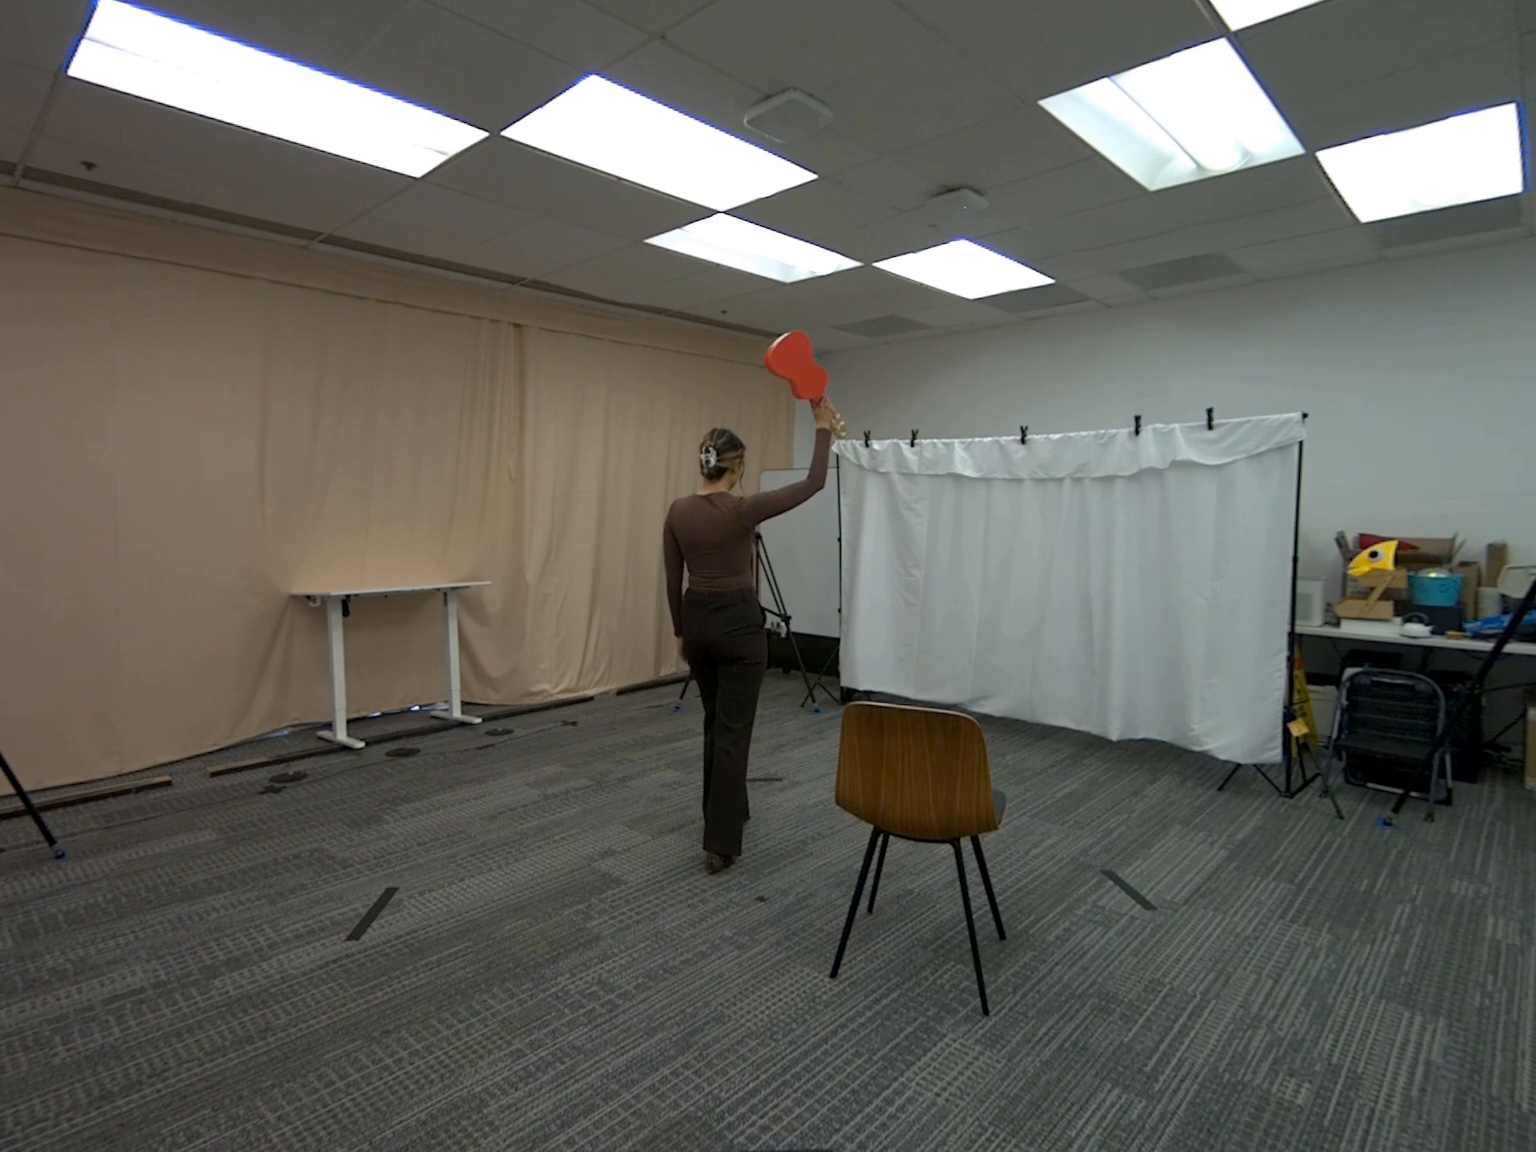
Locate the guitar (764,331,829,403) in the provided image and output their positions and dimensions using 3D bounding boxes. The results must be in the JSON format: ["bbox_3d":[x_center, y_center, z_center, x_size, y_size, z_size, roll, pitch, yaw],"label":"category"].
[{"bbox_3d":[0.204,-0.771,3.400,0.485,0.193,0.072,40,-6,-22],"label":"guitar"}]
